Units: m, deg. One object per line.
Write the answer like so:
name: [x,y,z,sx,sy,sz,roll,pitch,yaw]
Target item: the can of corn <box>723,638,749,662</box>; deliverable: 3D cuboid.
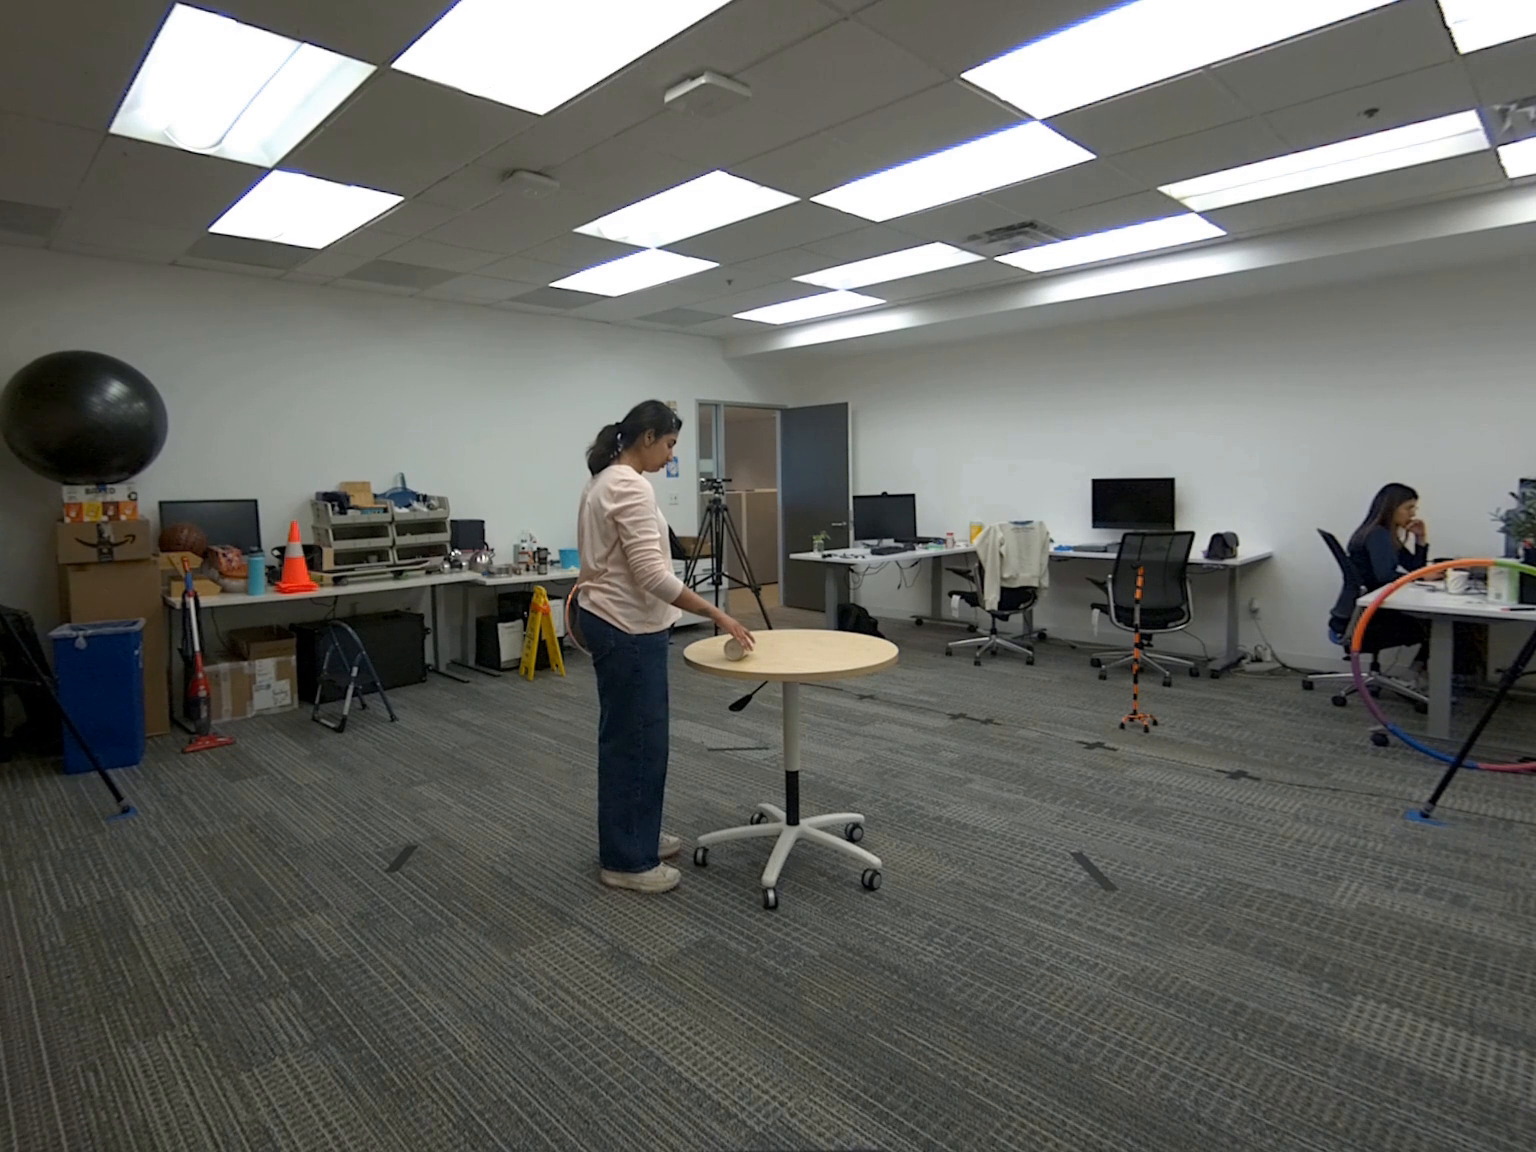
can of corn: [-0.101,0.243,2.938,0.075,0.074,0.110,0,6,16]
